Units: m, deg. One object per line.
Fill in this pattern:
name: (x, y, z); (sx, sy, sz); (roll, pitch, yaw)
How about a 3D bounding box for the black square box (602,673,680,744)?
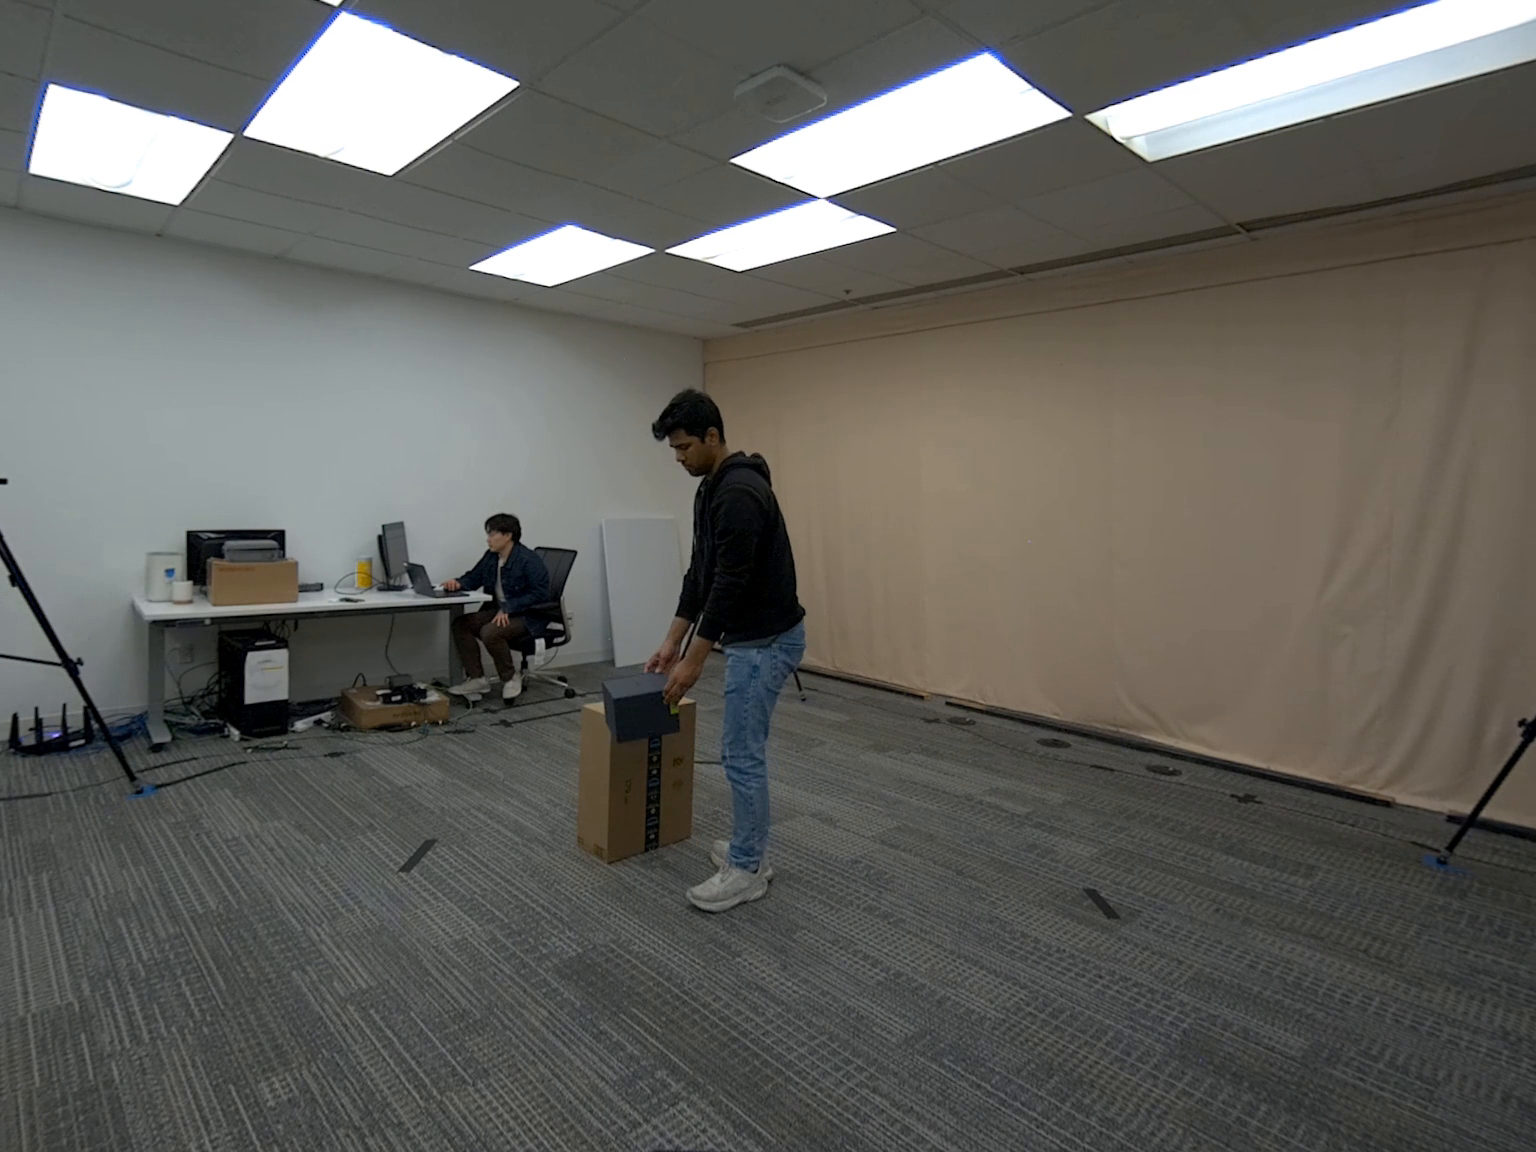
black square box: (-0.447, 0.451, 2.876); (0.214, 0.155, 0.232); (-6, 10, -19)
